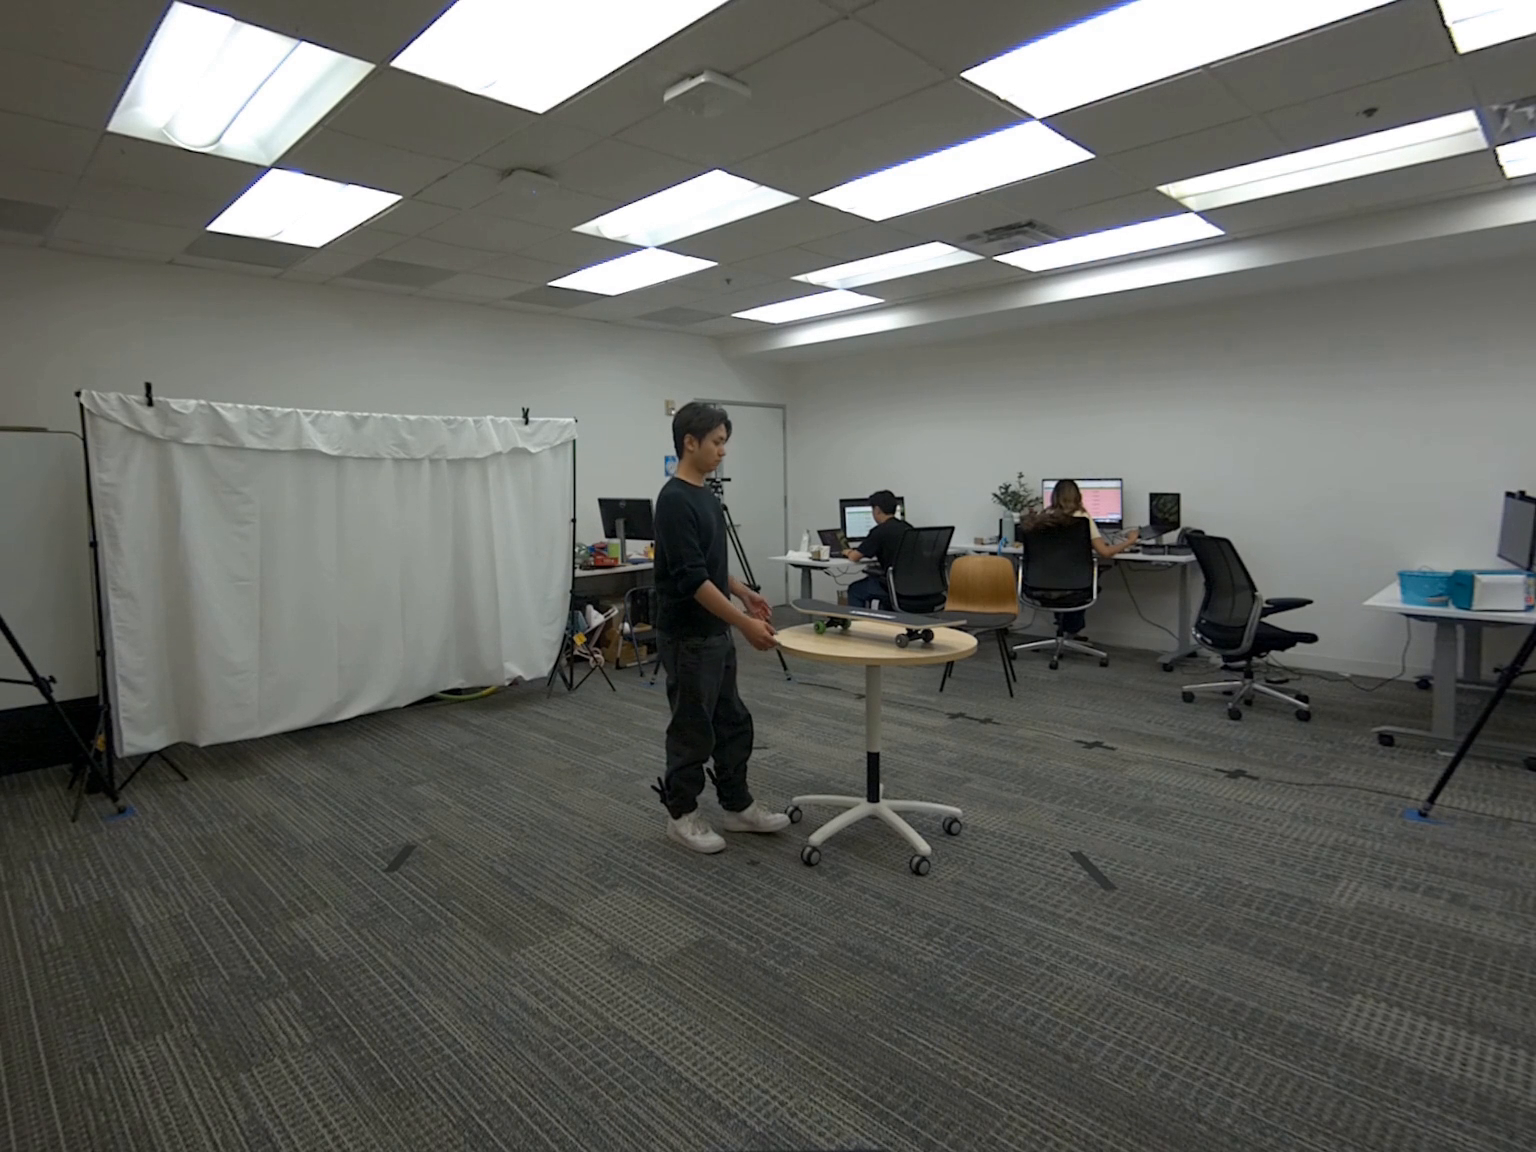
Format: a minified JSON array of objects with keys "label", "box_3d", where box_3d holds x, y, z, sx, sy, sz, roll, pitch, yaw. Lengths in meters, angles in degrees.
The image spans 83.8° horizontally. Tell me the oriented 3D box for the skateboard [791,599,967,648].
[{"label":"skateboard","box_3d":[0.400,0.184,3.258,0.188,0.110,0.810,-4,7,-43]}]
